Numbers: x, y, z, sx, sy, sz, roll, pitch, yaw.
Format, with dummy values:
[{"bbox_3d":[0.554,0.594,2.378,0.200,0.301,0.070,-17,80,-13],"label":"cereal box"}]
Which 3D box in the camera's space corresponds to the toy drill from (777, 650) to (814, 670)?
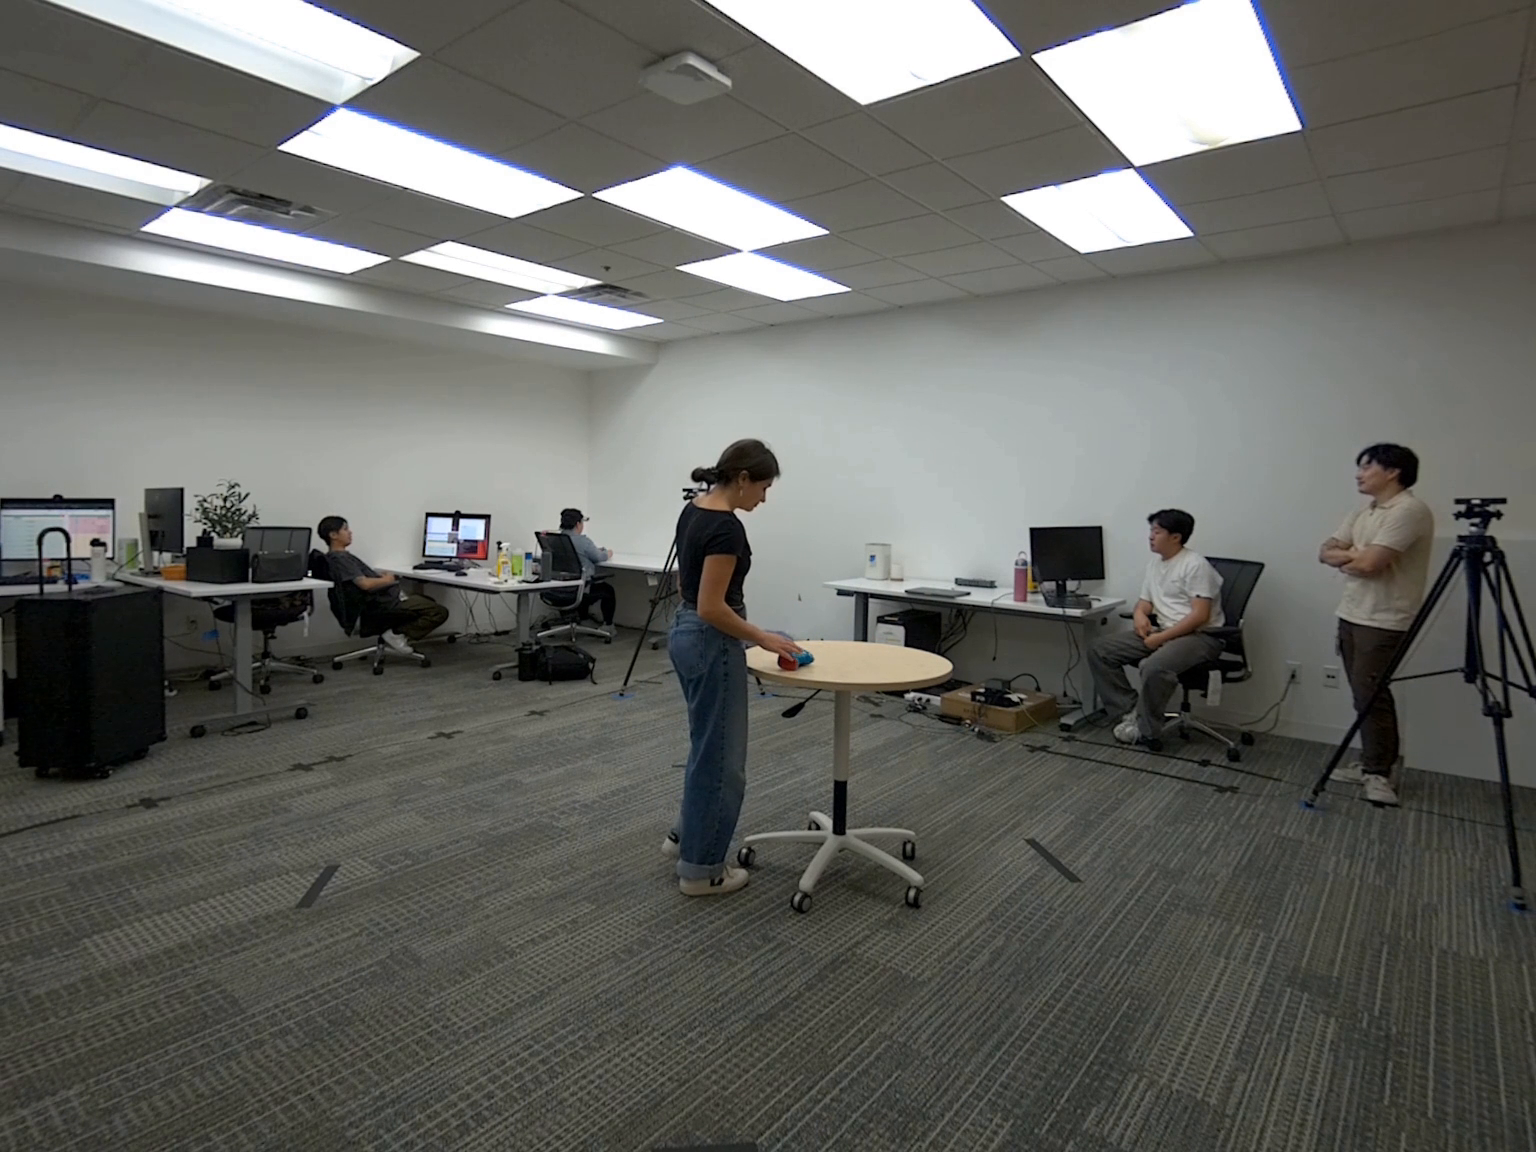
[{"bbox_3d":[0.069,0.278,2.949,0.175,0.060,0.142,15,14,29],"label":"toy drill"}]
